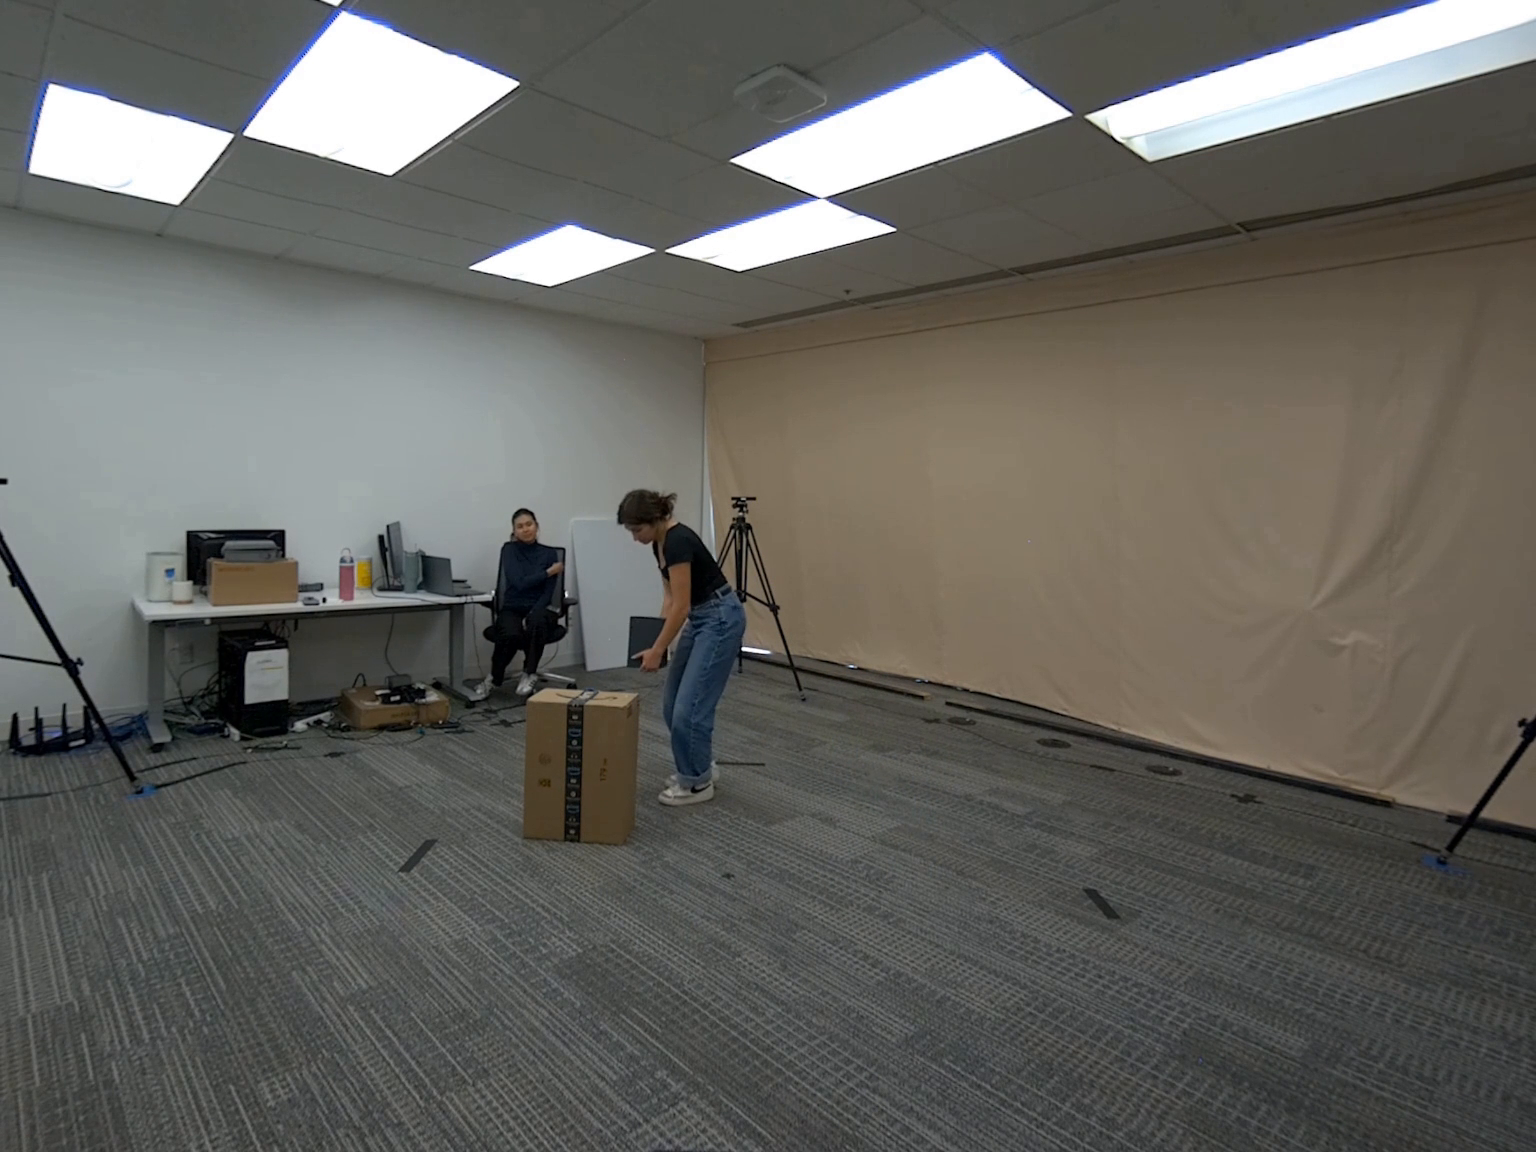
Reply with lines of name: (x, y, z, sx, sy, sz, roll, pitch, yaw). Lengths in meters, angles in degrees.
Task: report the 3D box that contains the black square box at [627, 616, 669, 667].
black square box: (-0.551, 0.300, 3.879, 0.156, 0.228, 0.216, 2, -4, 2)
